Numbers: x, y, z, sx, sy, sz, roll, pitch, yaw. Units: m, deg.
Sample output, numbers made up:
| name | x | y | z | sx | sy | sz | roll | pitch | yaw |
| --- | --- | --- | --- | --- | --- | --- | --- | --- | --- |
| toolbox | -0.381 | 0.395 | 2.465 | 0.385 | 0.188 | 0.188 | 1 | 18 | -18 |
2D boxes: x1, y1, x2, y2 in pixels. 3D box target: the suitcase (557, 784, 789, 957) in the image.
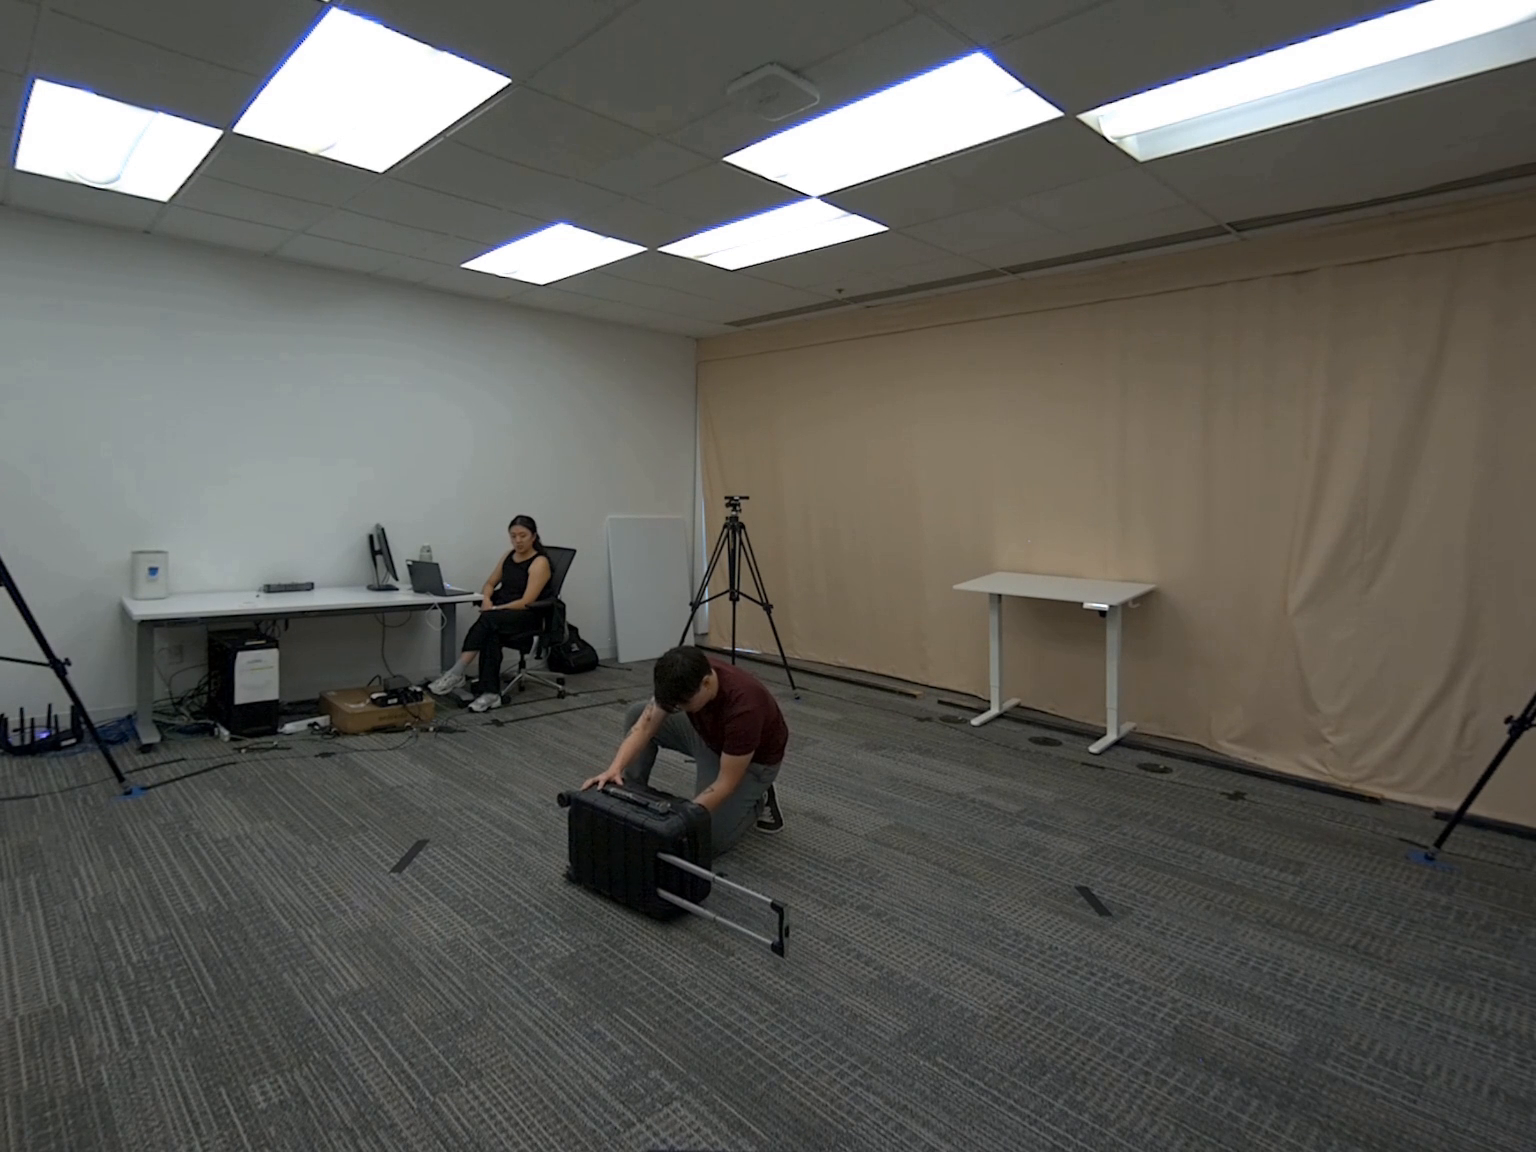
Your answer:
| name | x | y | z | sx | sy | sz | roll | pitch | yaw |
| --- | --- | --- | --- | --- | --- | --- | --- | --- | --- |
| suitcase | -0.296 | 0.947 | 2.775 | 1.003 | 0.382 | 0.252 | 6 | 10 | 38 |
